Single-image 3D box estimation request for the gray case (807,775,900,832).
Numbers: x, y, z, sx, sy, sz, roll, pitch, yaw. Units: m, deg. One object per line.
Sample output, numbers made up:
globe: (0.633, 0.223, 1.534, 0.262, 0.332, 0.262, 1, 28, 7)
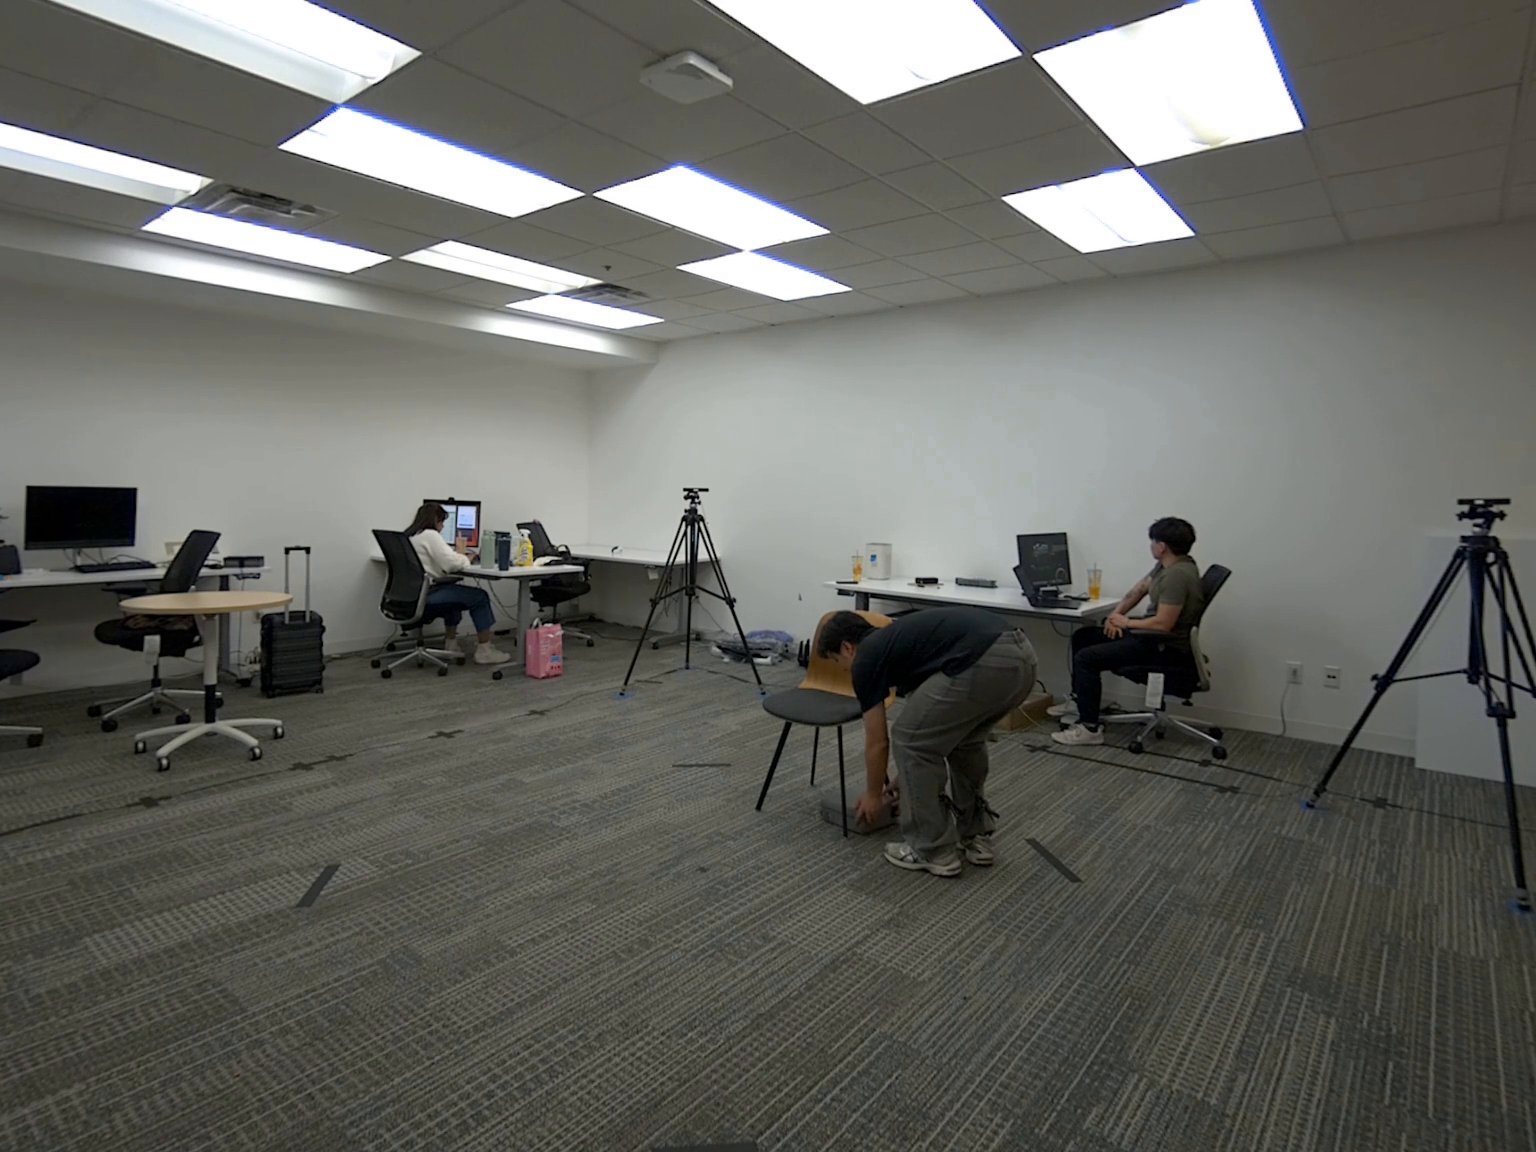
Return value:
gray case: (0.363, 0.970, 3.617, 0.255, 0.103, 0.297, -3, 6, -41)
